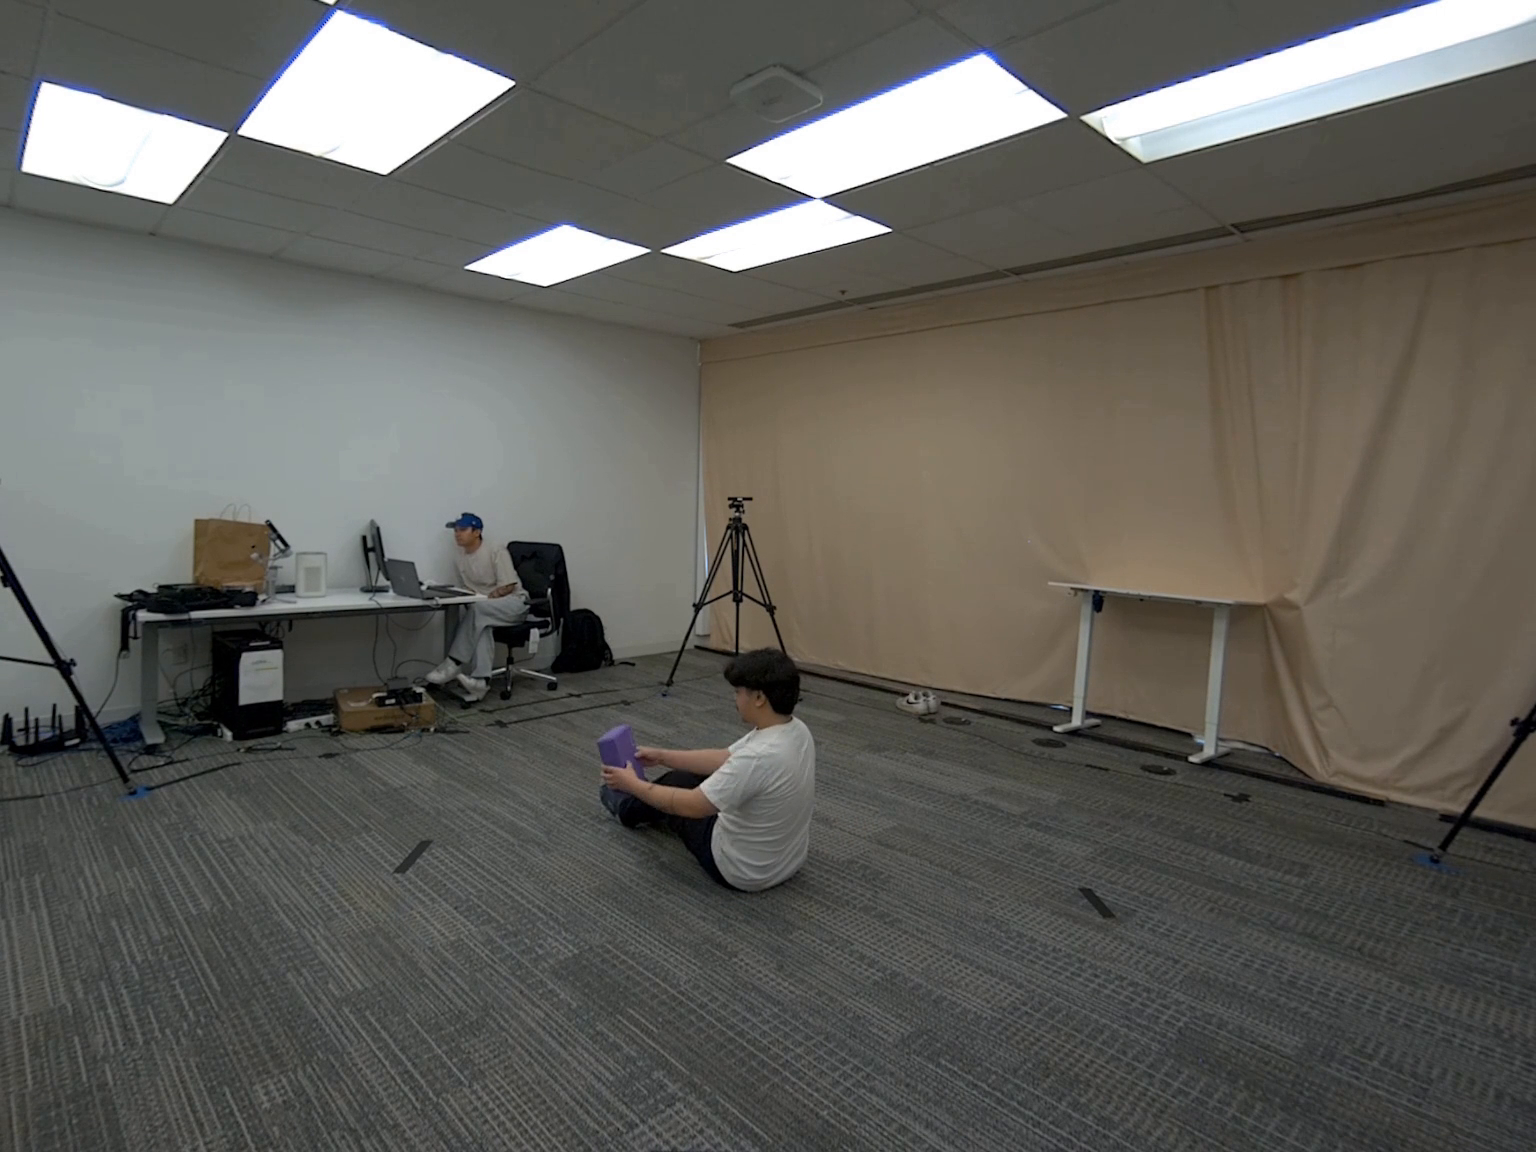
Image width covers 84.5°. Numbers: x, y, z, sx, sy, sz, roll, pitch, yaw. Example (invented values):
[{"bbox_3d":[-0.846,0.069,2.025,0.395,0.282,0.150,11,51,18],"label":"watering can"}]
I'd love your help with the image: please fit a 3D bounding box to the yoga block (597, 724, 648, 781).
[{"bbox_3d":[-0.539,0.687,3.112,0.077,0.228,0.148,-12,5,17],"label":"yoga block"}]
